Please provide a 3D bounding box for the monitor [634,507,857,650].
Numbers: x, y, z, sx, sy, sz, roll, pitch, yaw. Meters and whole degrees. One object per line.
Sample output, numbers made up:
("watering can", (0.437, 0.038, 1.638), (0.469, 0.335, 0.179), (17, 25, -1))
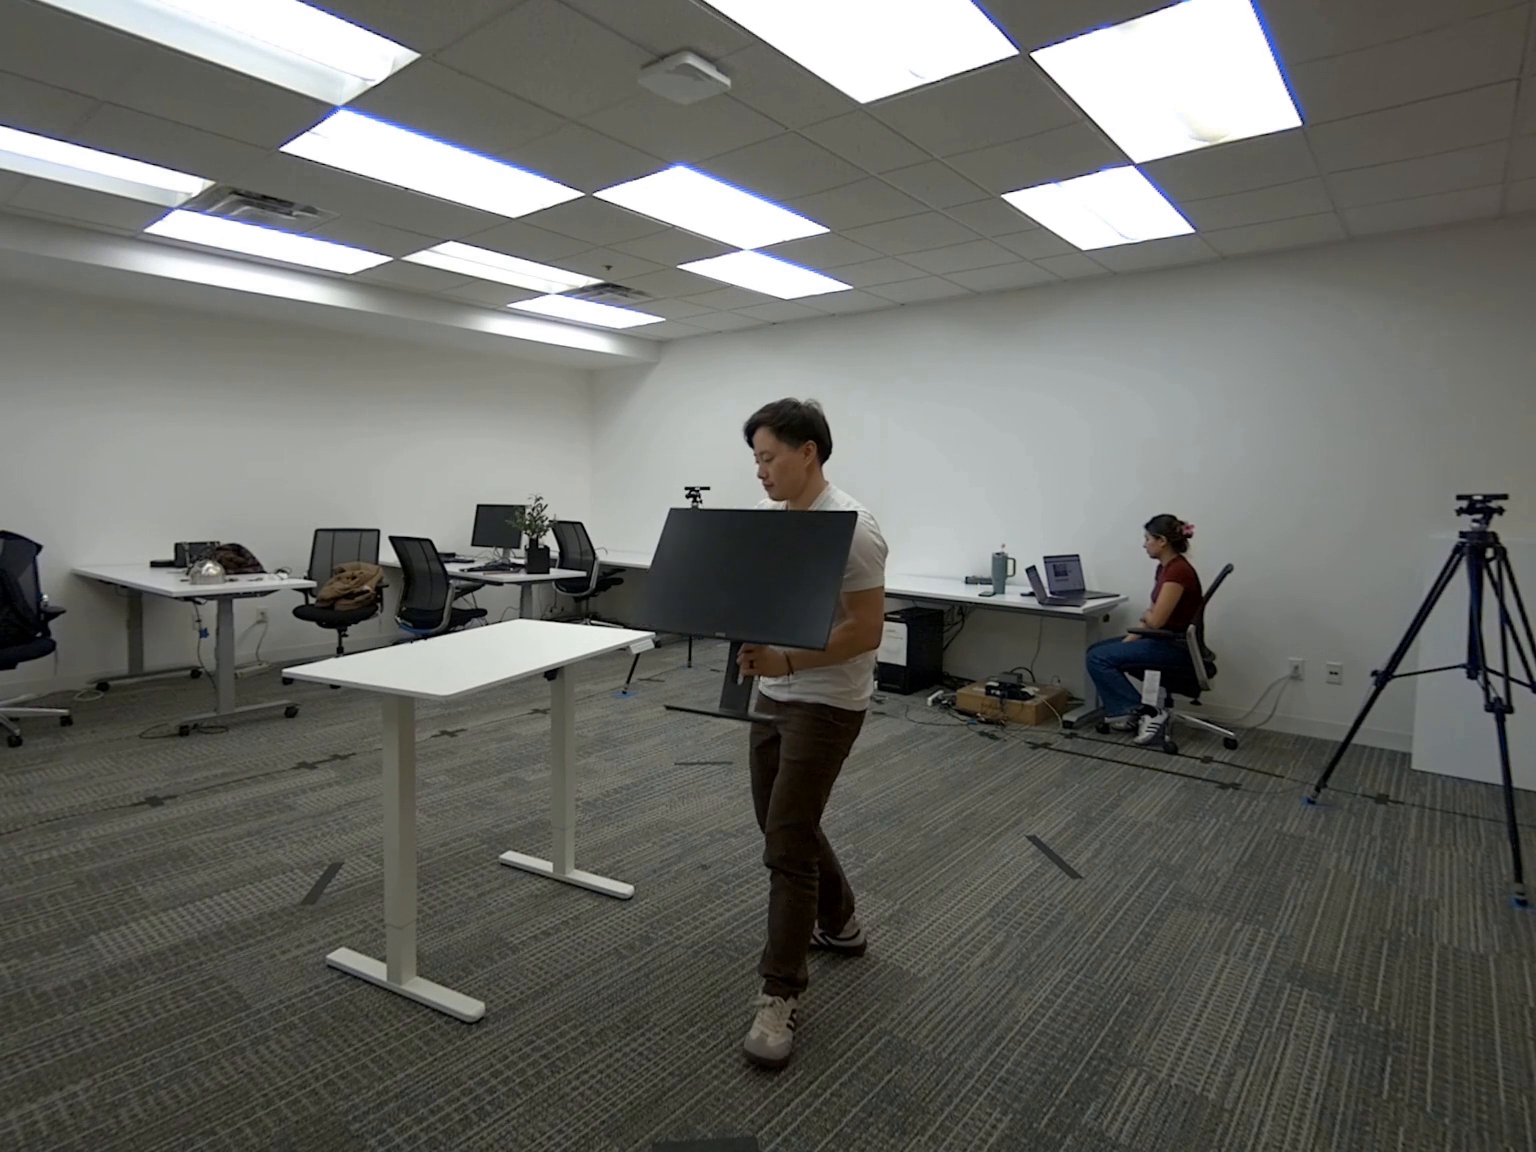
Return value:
("monitor", (-0.071, 0.088, 2.088), (0.554, 0.527, 0.180), (3, -12, 28))
